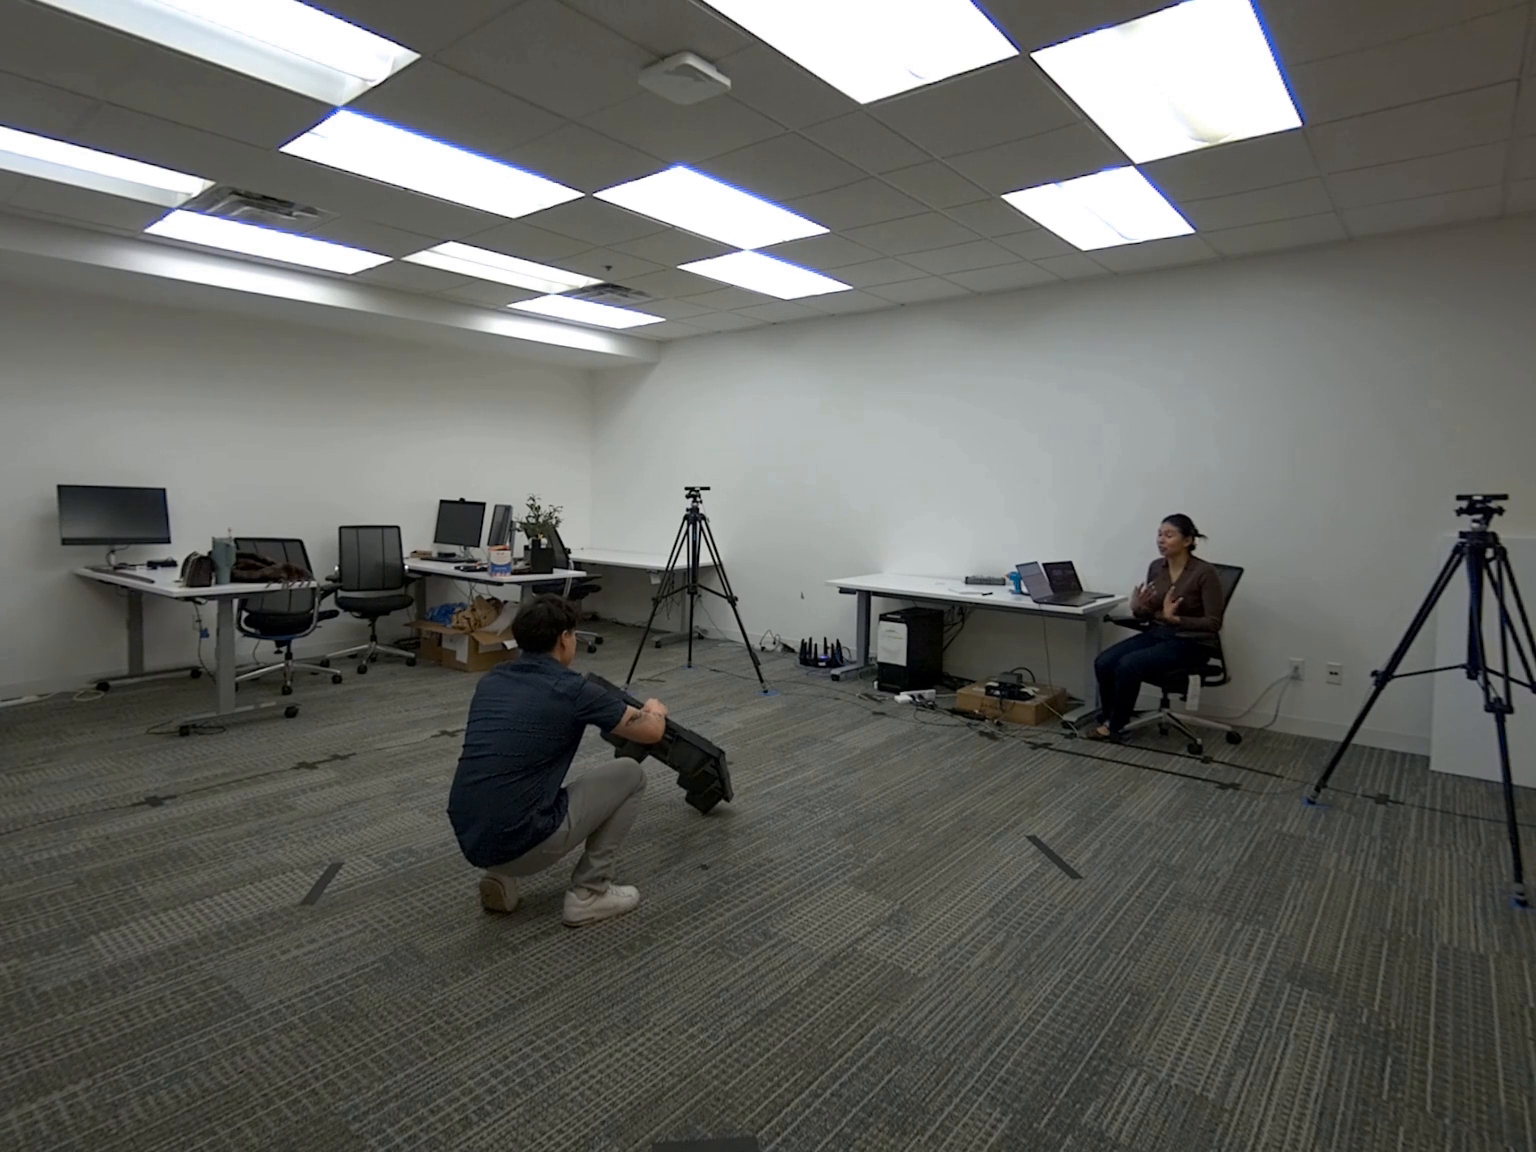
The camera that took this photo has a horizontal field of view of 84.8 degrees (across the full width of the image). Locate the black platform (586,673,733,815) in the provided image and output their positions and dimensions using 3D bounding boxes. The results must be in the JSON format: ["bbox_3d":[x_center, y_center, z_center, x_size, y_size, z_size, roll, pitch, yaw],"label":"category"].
[{"bbox_3d":[-0.457,0.697,3.410,0.619,0.144,0.784,27,-24,15],"label":"black platform"}]
